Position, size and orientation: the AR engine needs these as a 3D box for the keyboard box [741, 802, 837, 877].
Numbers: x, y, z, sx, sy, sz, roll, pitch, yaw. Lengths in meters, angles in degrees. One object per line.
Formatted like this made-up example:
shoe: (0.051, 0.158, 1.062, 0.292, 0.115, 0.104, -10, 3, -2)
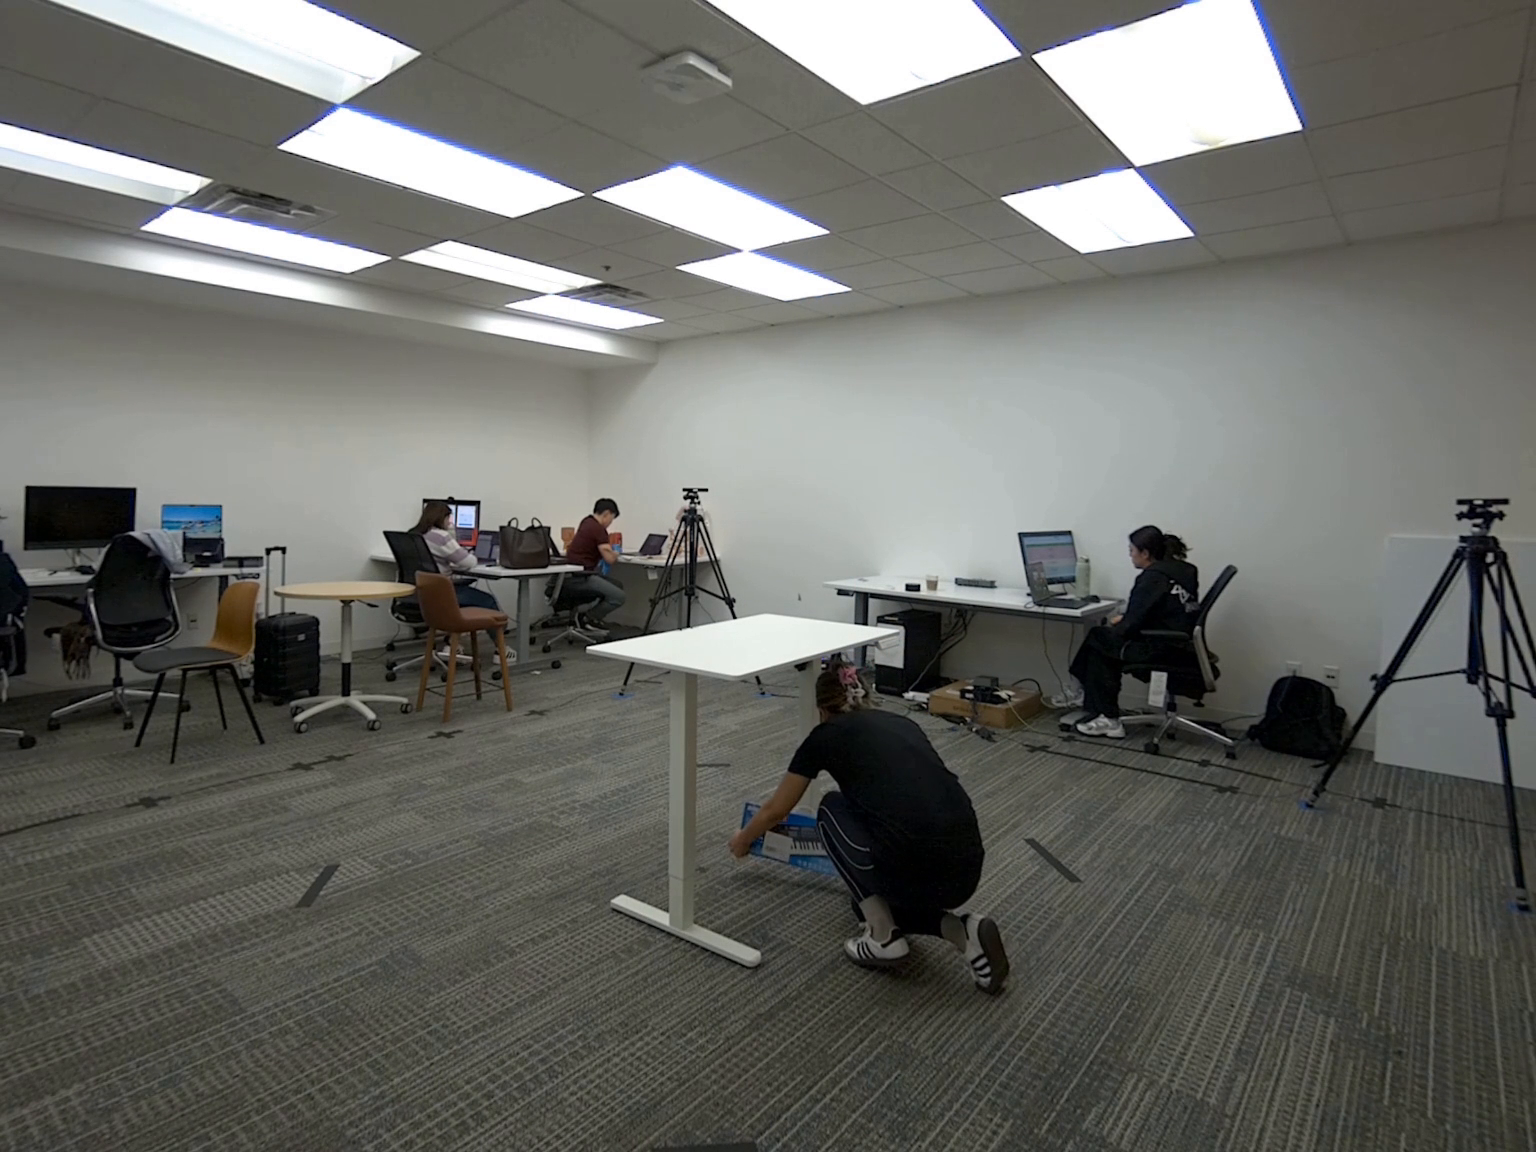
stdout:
keyboard box: (0.107, 0.941, 3.045, 0.447, 0.177, 0.057, 7, -11, 21)
